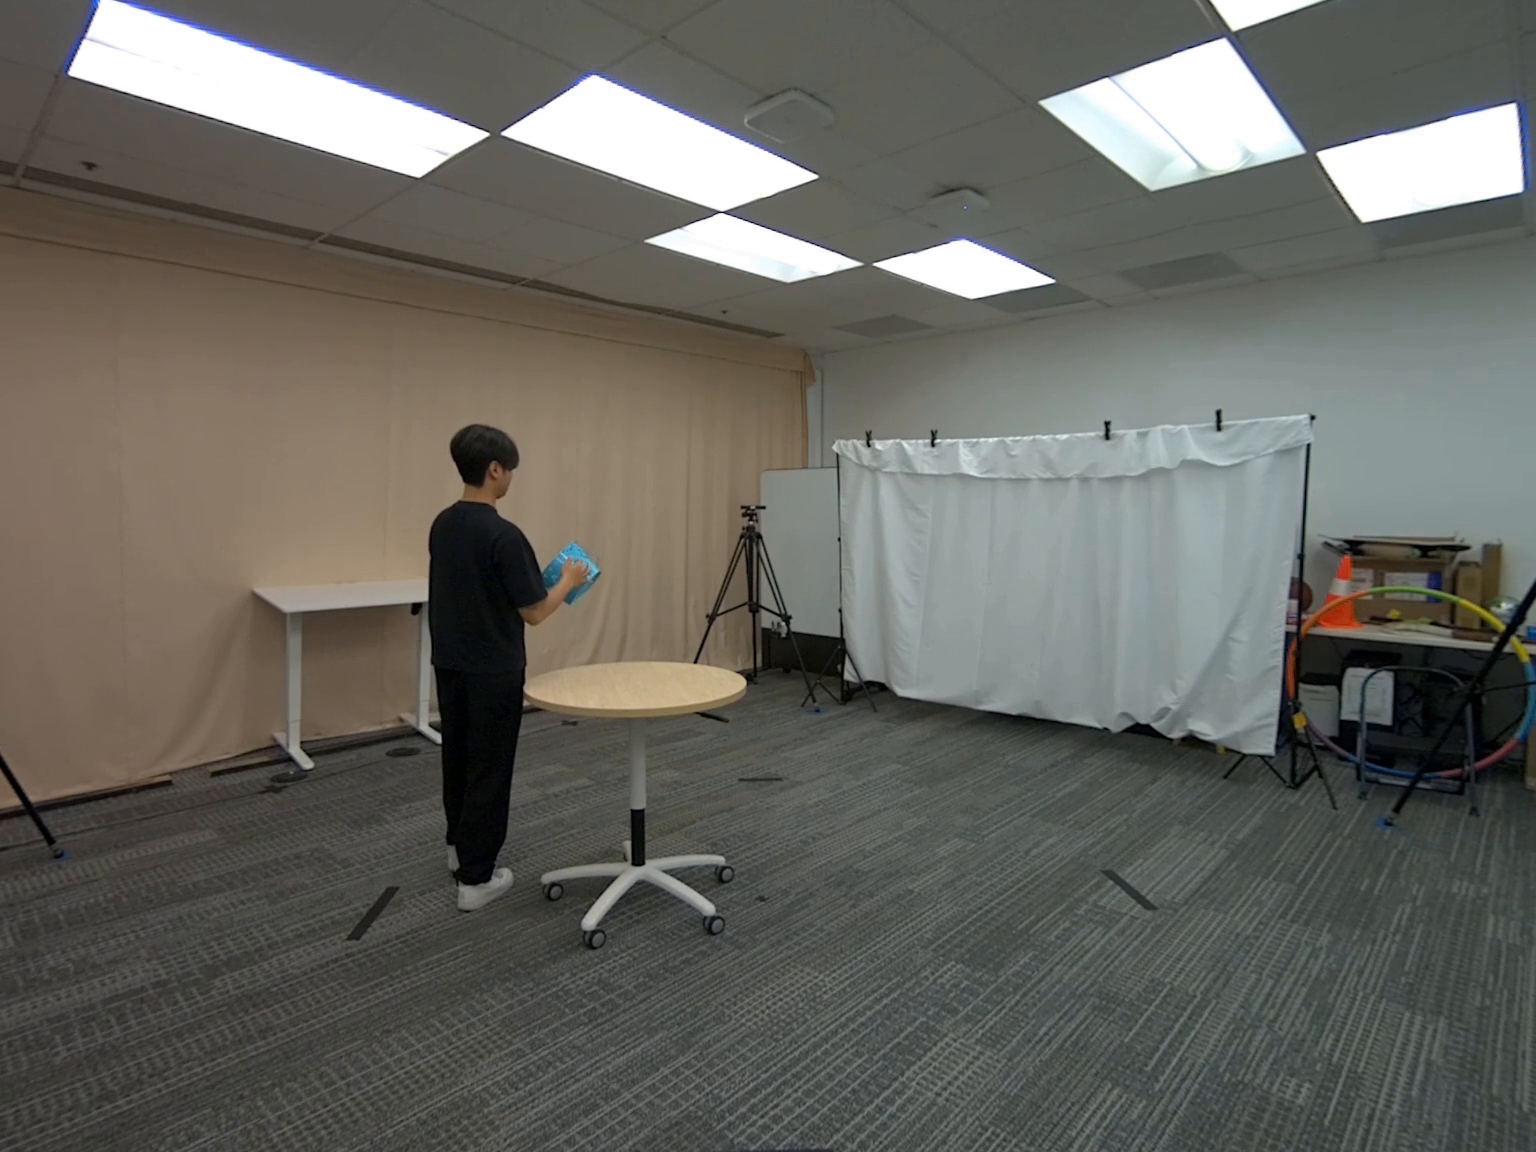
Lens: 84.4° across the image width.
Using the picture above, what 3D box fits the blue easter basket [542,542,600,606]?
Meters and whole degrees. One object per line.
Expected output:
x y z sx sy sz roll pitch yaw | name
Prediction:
-0.774 -0.005 3.286 0.156 0.244 0.243 43 6 0 | blue easter basket
